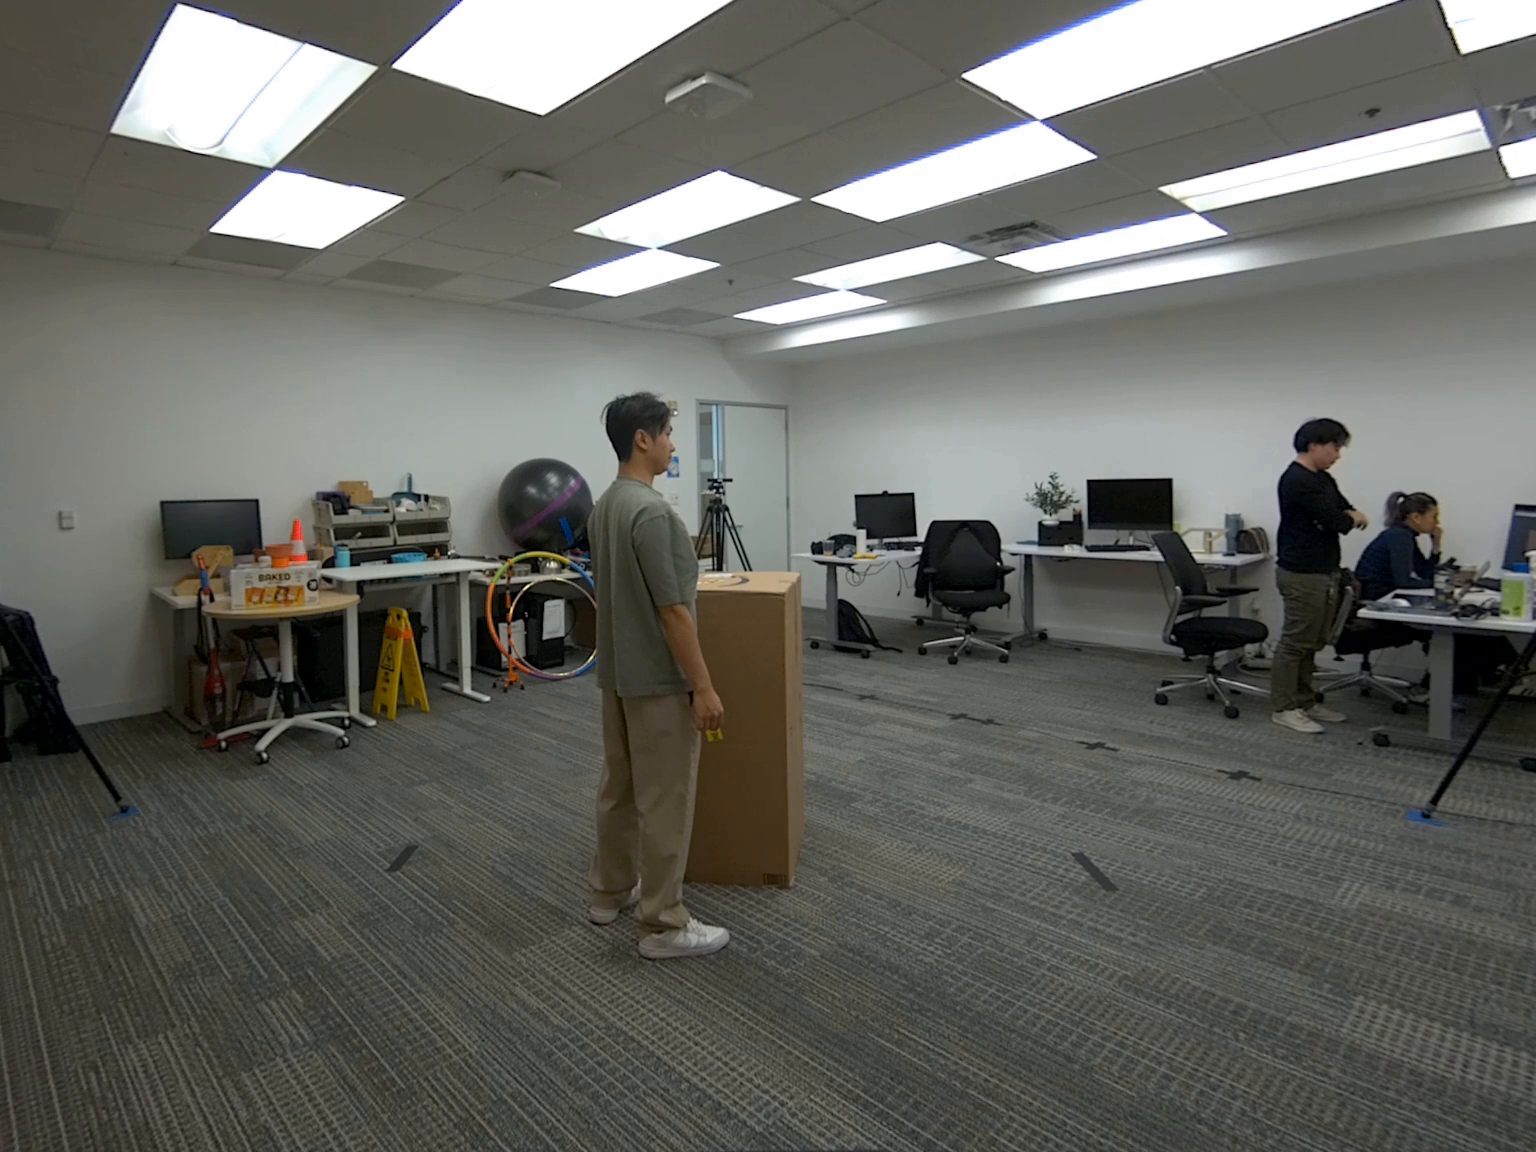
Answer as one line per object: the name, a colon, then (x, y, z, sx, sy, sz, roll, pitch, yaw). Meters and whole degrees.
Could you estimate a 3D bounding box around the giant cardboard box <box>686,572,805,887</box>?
giant cardboard box: (-0.106, 0.526, 3.197, 0.430, 1.022, 0.575, 0, 4, 8)
